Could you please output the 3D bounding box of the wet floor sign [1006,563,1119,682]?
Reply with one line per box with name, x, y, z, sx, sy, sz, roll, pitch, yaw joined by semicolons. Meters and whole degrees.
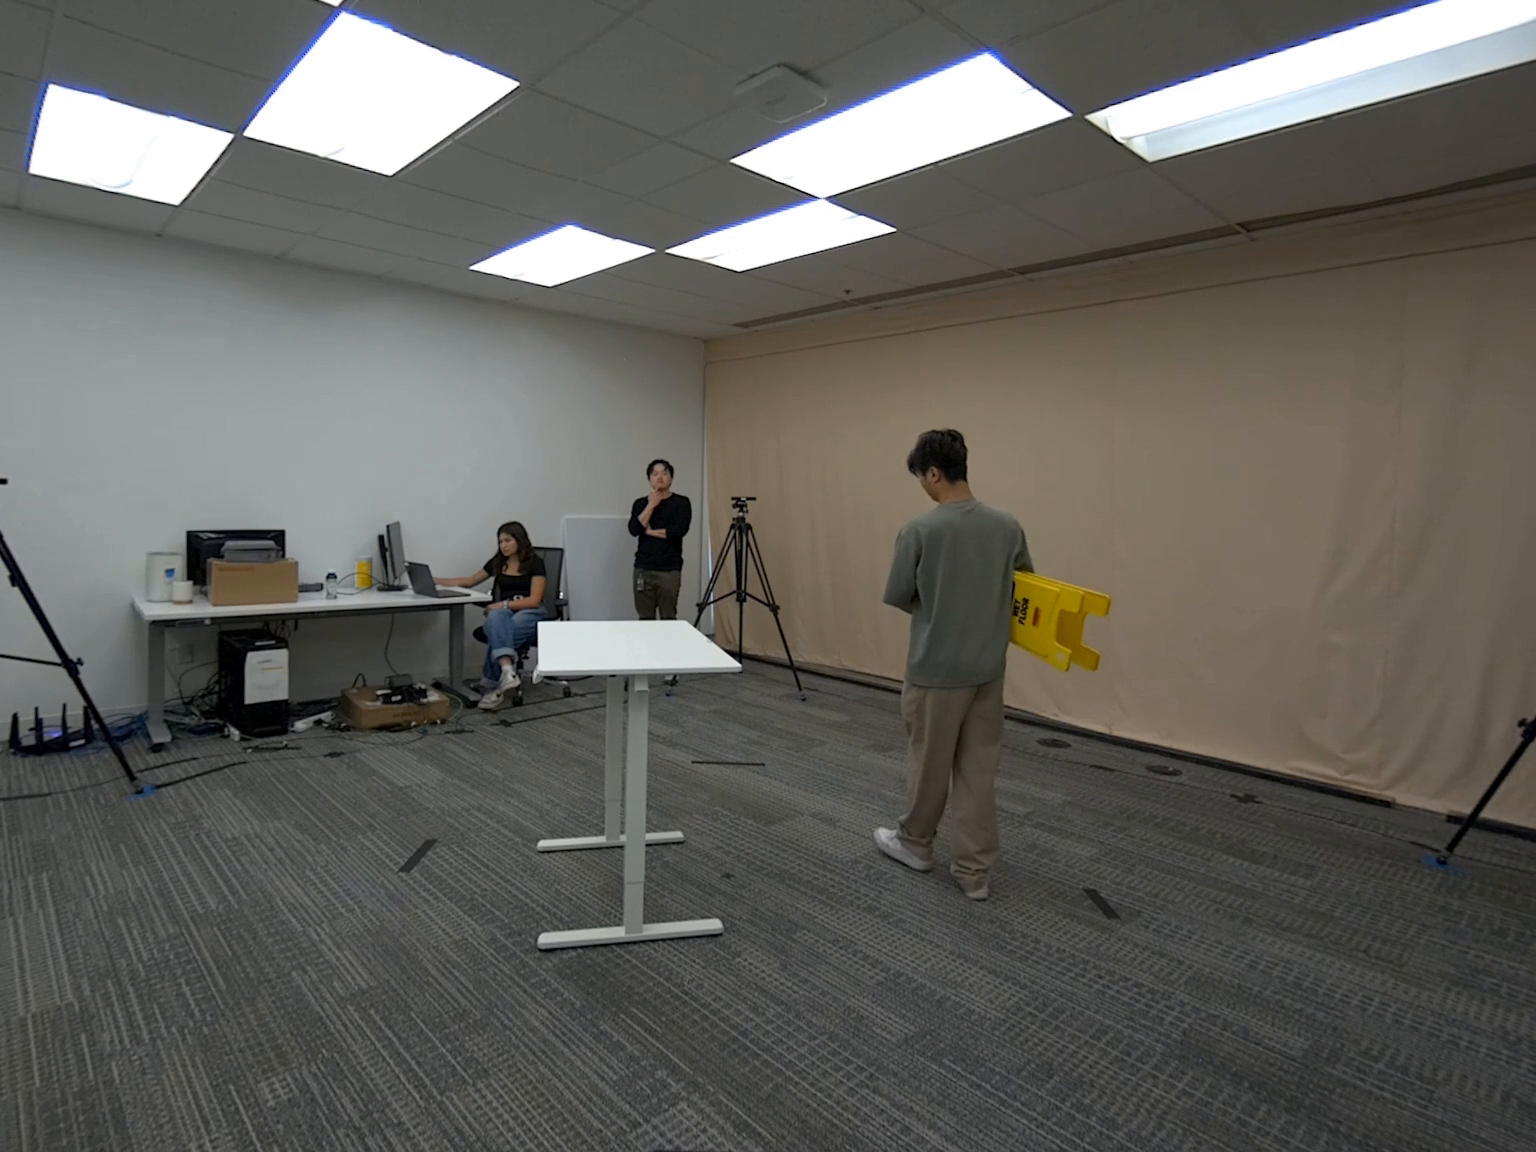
wet floor sign;0.867;0.105;3.070;0.284;0.279;0.665;-2;18;-30
